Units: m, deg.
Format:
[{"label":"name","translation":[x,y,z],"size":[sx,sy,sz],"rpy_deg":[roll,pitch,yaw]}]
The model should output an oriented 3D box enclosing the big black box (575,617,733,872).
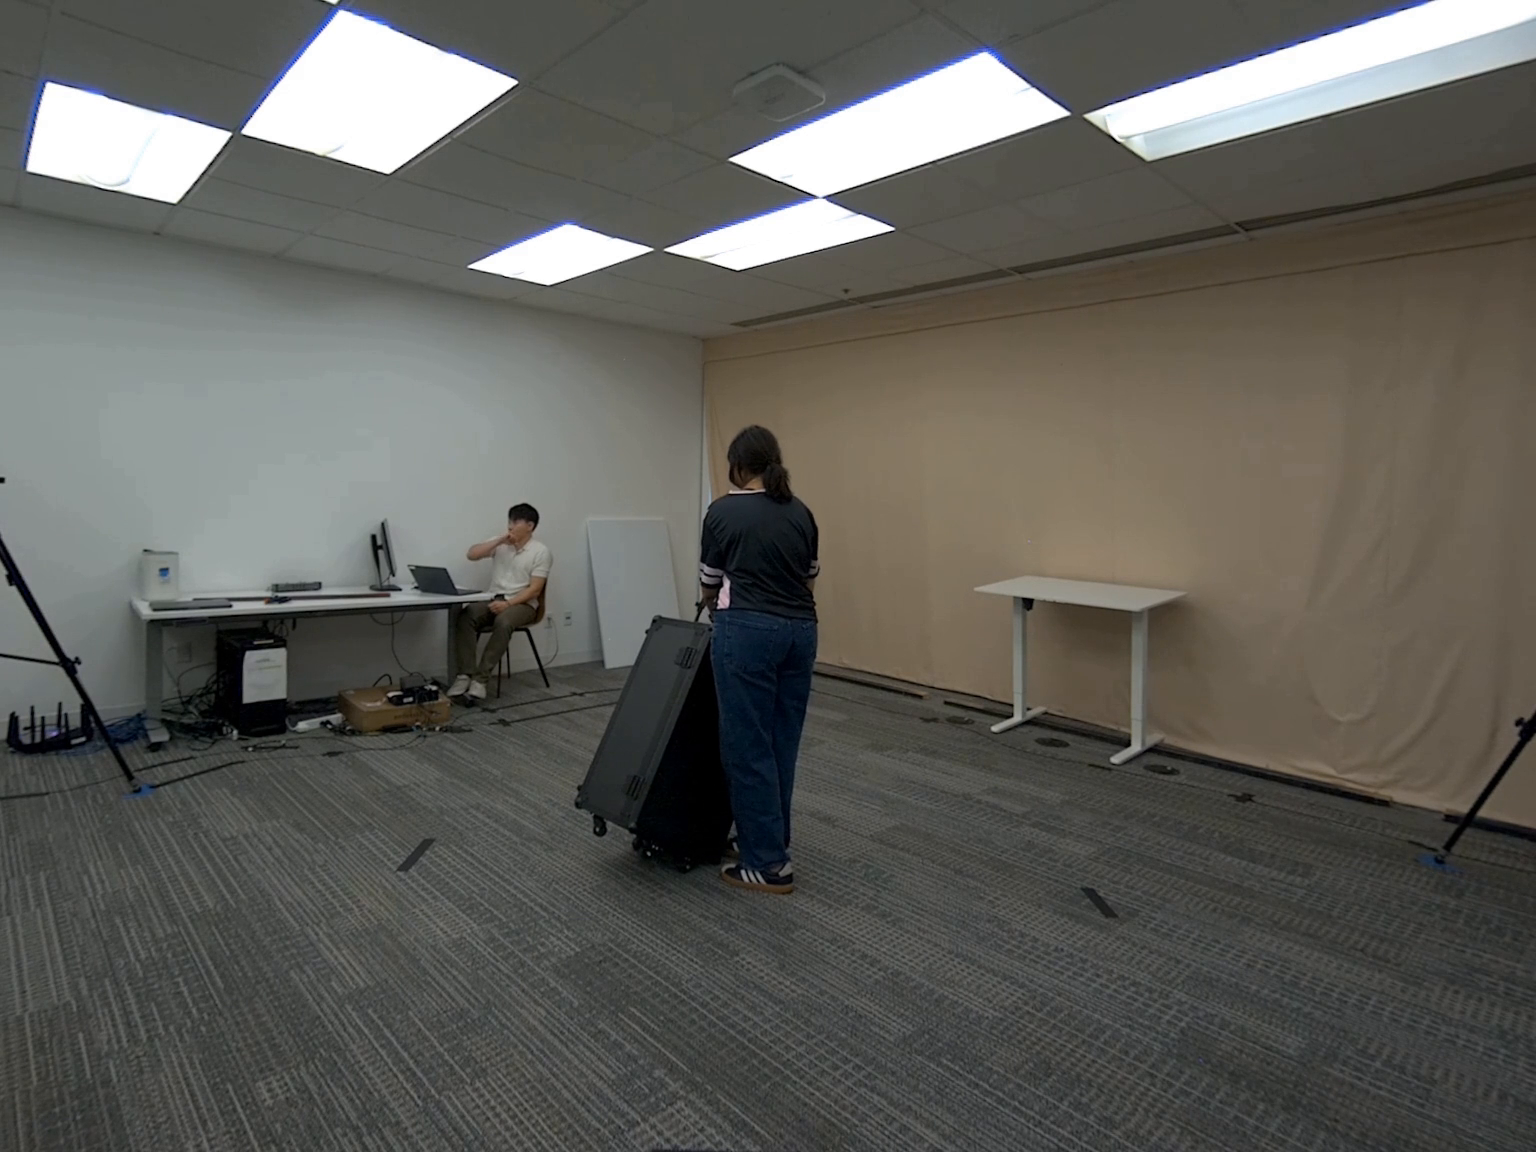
[{"label":"big black box","translation":[-0.350,0.656,3.265],"size":[0.395,0.874,0.507],"rpy_deg":[5,-24,42]}]
